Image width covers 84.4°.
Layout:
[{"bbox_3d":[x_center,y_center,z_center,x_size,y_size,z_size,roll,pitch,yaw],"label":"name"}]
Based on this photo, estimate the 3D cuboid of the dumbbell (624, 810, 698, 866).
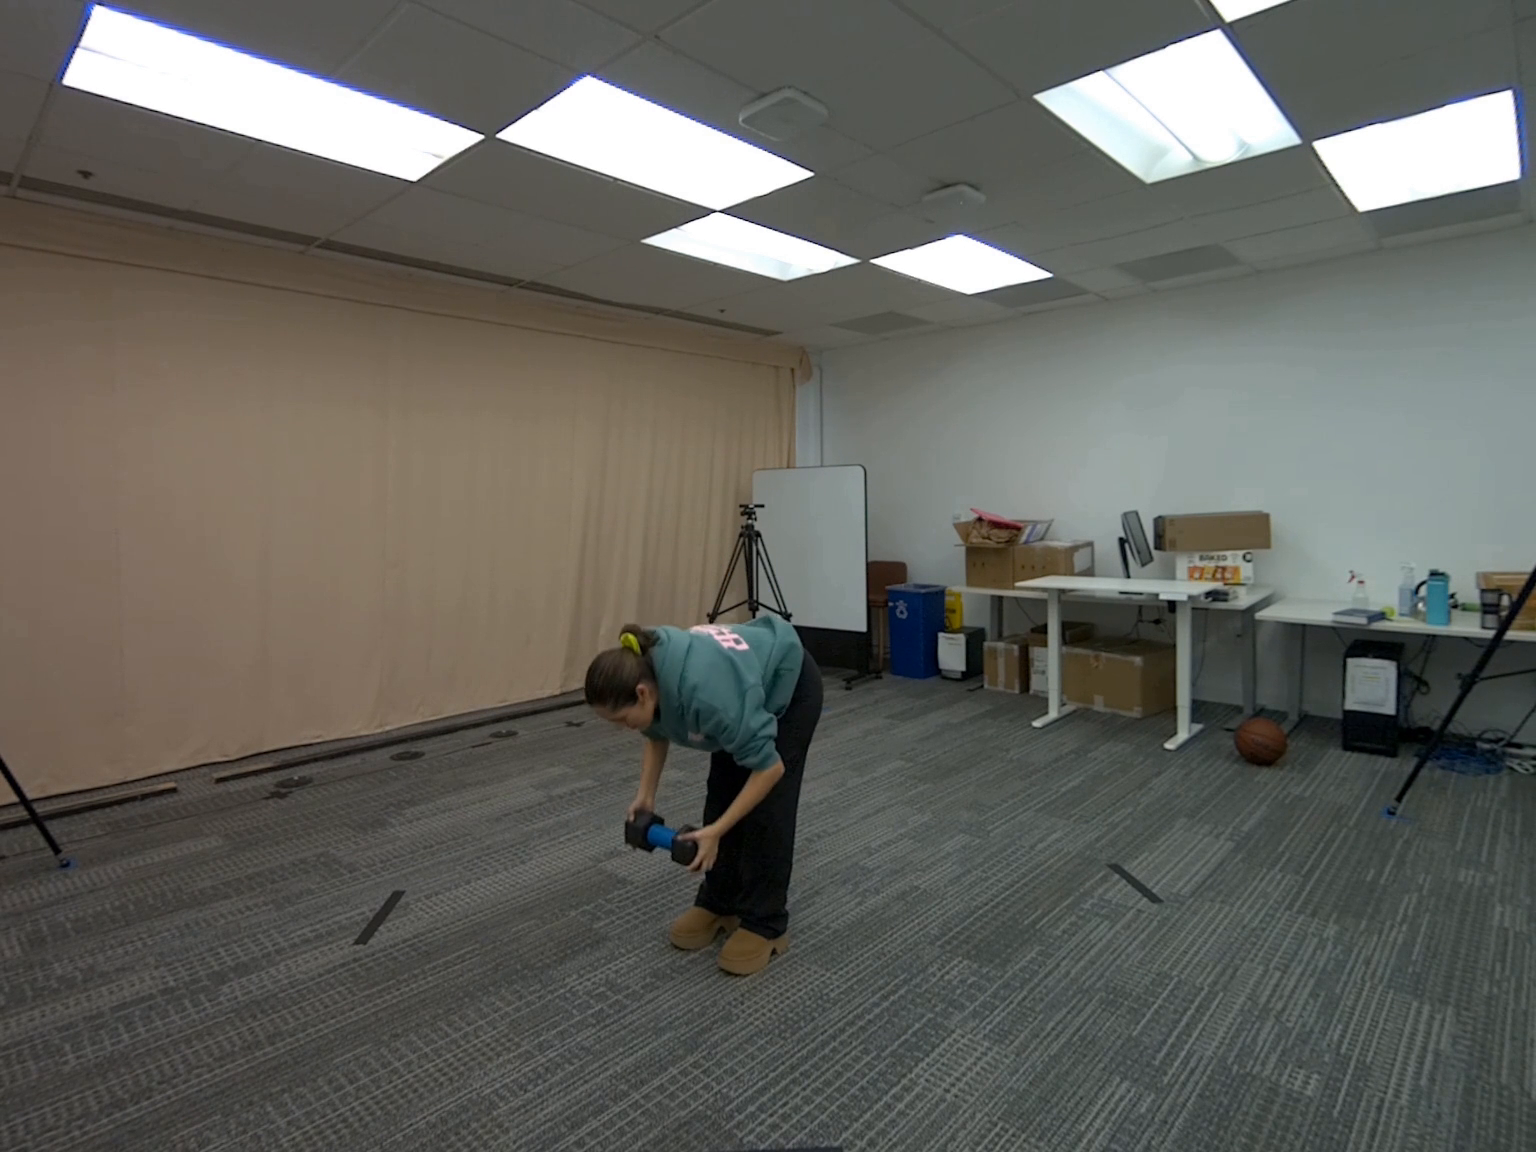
[{"bbox_3d":[-0.289,0.767,2.461,0.303,0.123,0.105,2,-3,44],"label":"dumbbell"}]
